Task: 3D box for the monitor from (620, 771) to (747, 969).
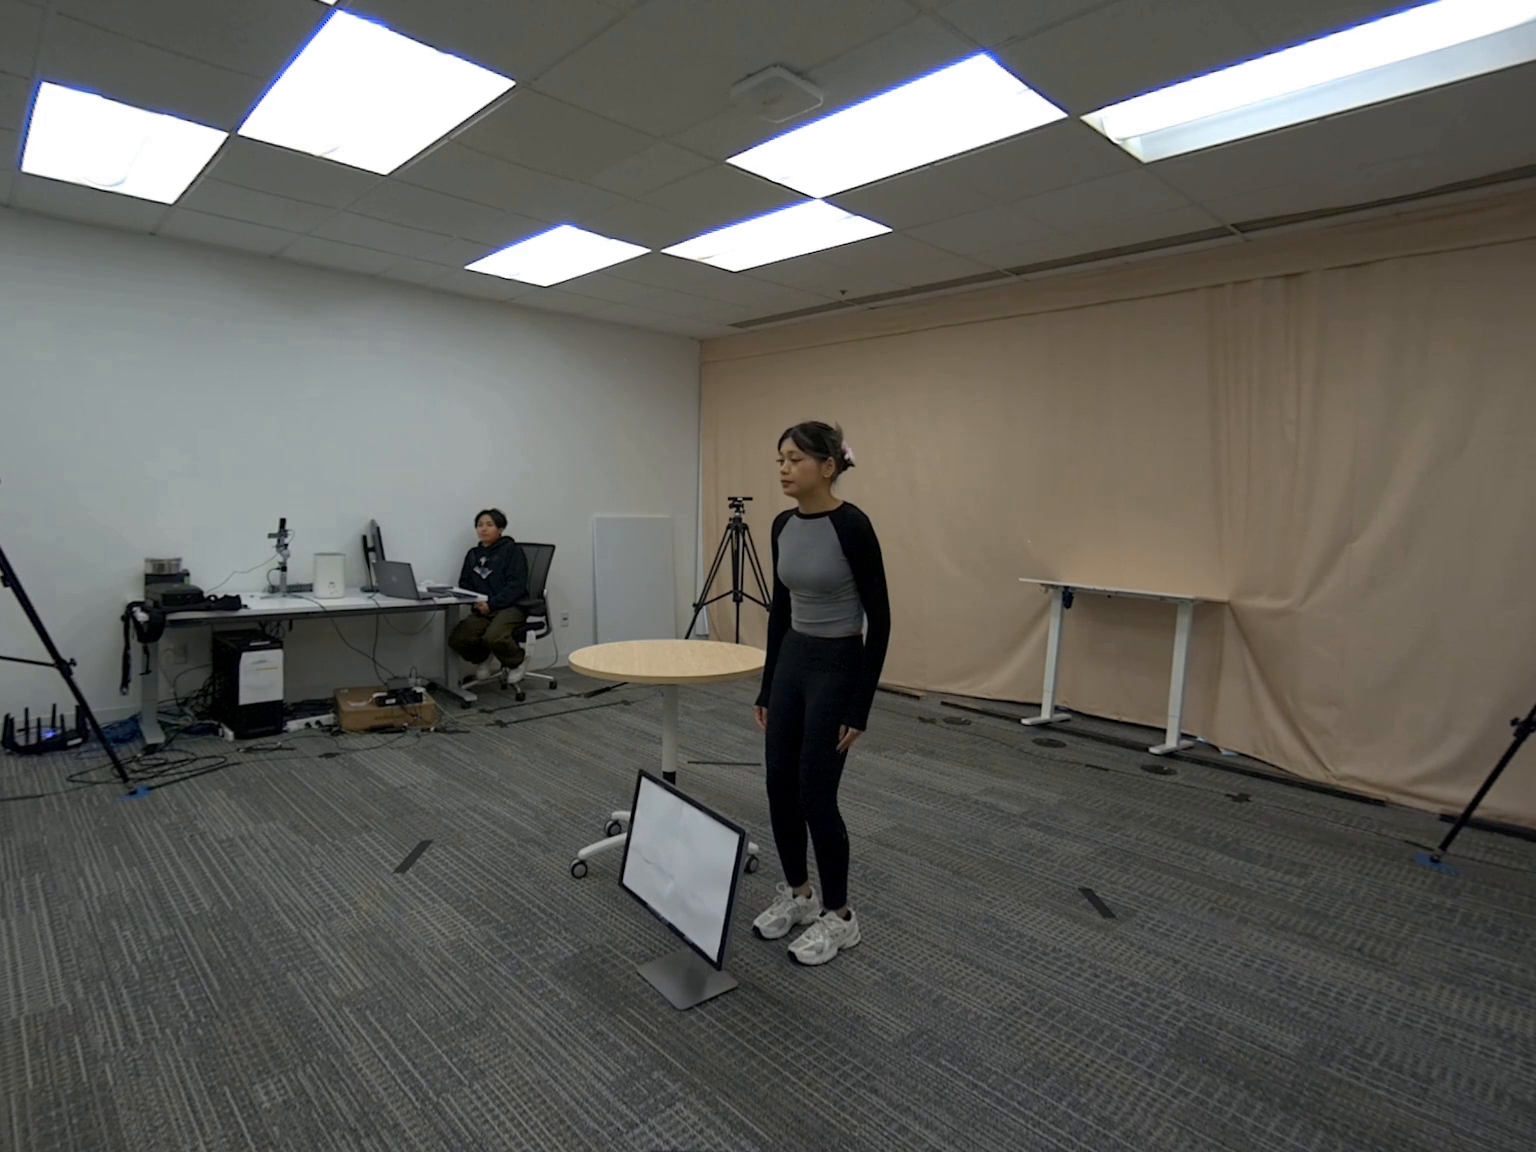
[{"bbox_3d":[-0.232,0.907,2.406,0.183,0.520,0.553,-4,7,-38],"label":"monitor"}]
